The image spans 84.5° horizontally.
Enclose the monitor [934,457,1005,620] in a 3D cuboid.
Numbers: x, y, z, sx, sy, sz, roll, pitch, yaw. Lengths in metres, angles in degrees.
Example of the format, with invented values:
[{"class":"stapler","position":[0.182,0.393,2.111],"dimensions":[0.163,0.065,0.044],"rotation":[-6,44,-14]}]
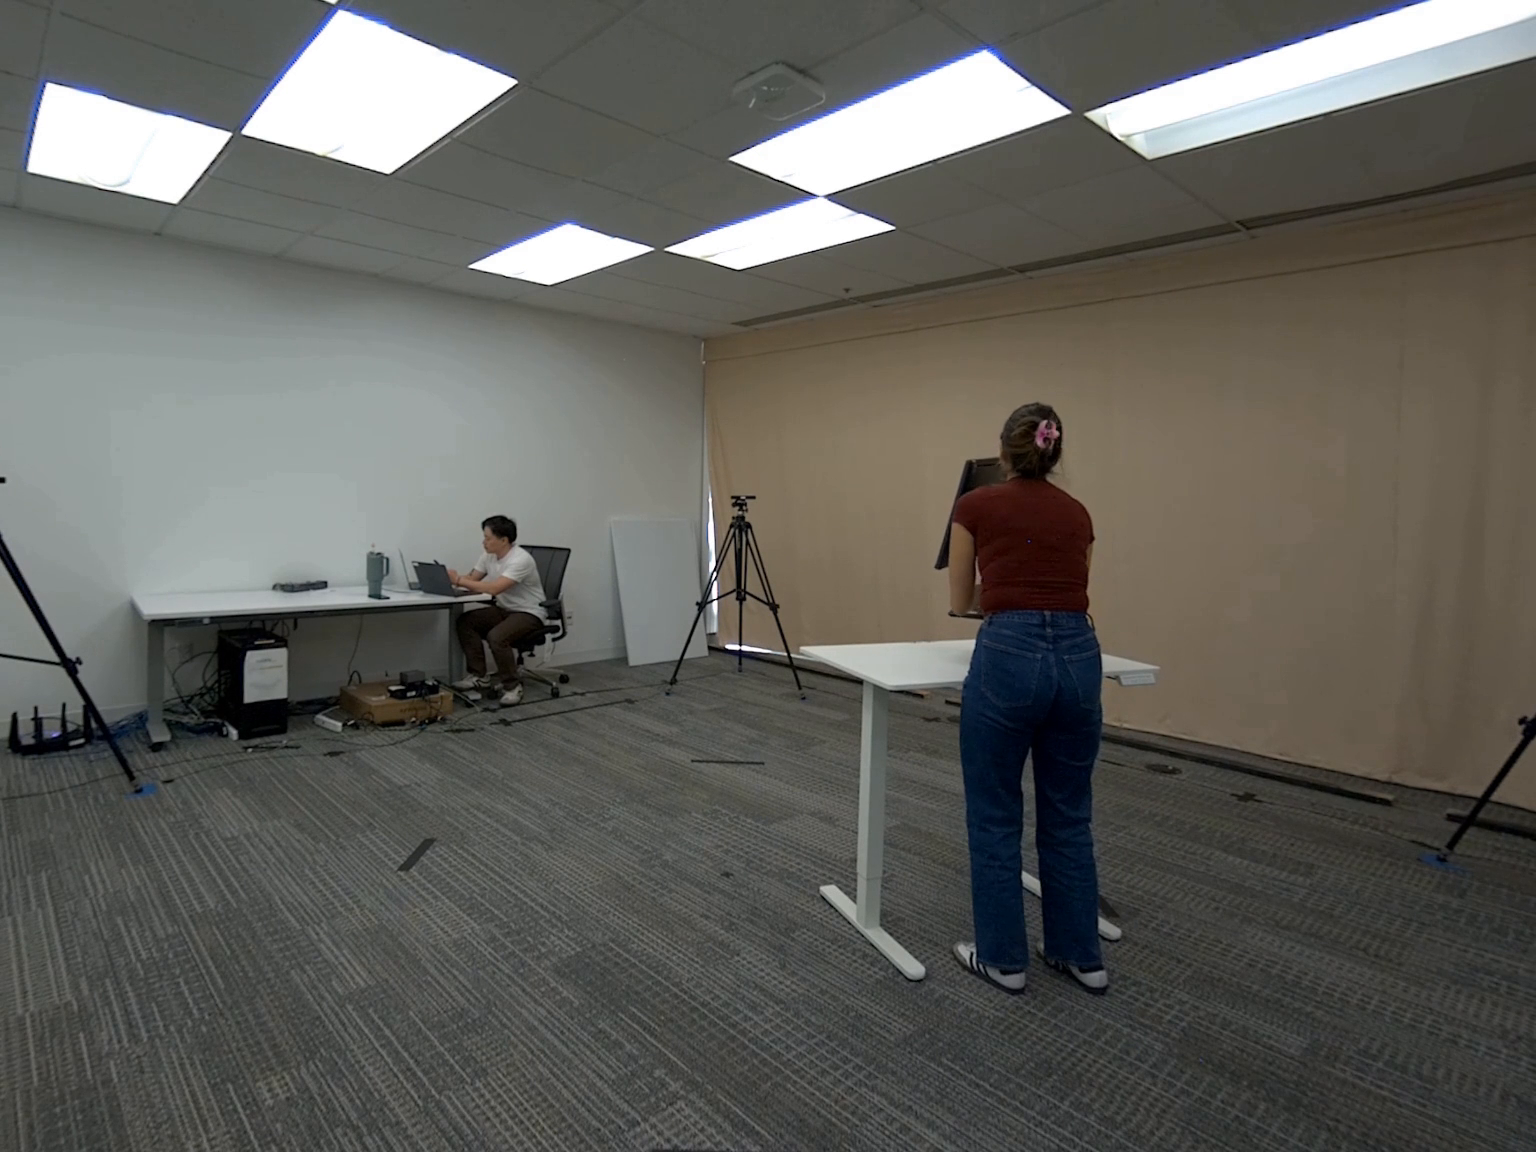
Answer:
[{"class":"monitor","position":[0.733,-0.129,2.770],"dimensions":[0.191,0.519,0.530],"rotation":[7,12,31]}]
